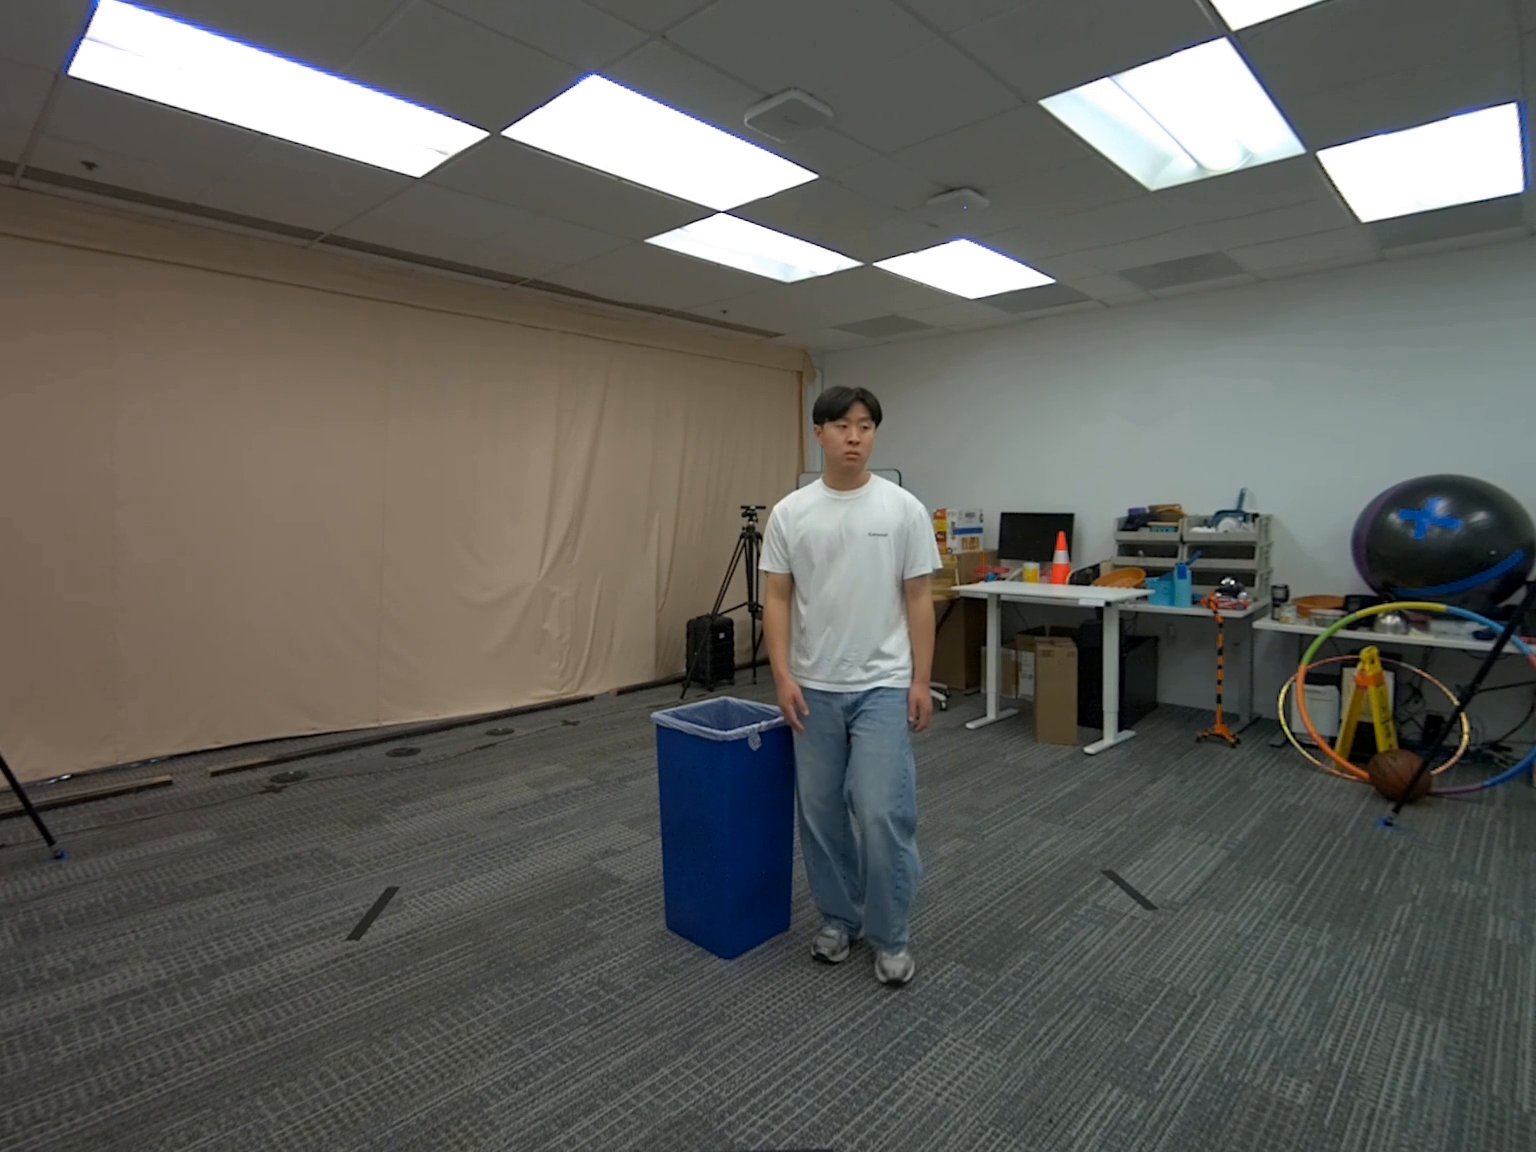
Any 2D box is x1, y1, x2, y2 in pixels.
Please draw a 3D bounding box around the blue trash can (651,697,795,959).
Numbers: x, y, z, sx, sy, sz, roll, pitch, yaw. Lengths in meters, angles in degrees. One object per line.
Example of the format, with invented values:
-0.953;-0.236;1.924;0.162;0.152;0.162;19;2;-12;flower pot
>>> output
-0.141;0.804;2.769;0.386;0.712;0.366;3;4;43;blue trash can
